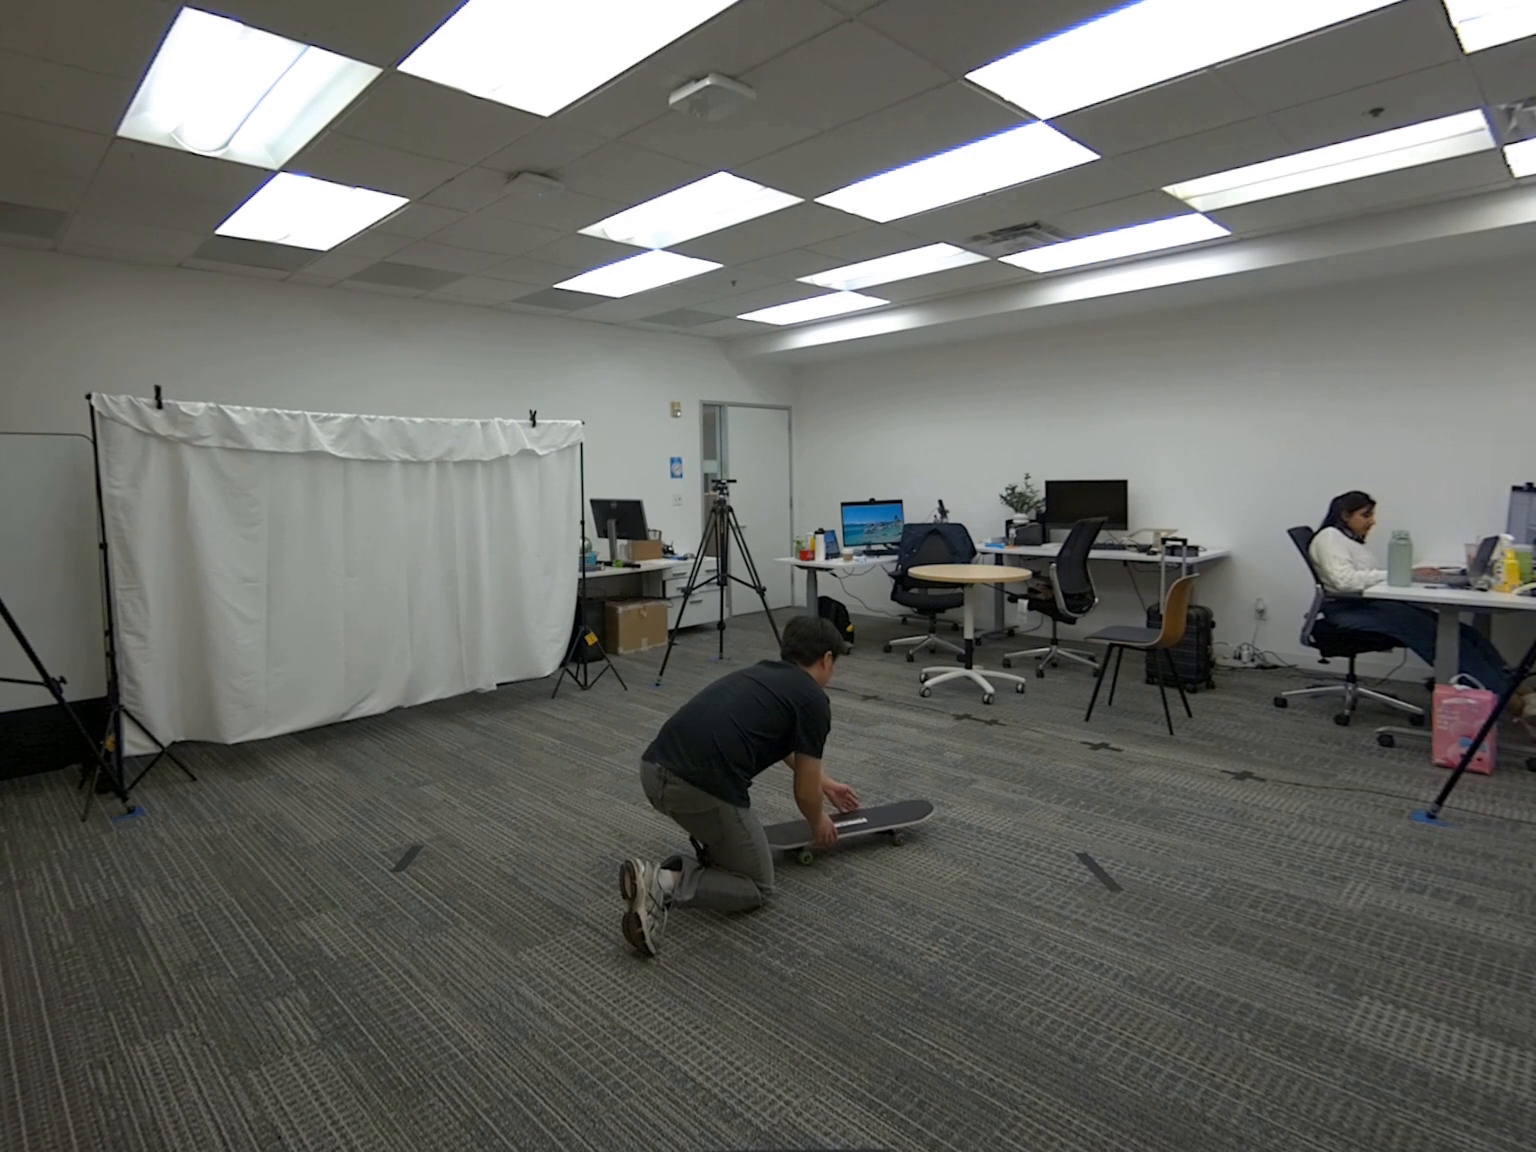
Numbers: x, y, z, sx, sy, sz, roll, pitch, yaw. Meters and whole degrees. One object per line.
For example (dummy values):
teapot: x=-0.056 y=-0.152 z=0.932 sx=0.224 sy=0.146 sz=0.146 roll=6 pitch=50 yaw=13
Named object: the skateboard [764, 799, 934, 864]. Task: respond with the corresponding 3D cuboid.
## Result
skateboard: x=0.284 y=0.967 z=3.236 sx=0.770 sy=0.110 sz=0.198 roll=-4 pitch=6 yaw=-22
